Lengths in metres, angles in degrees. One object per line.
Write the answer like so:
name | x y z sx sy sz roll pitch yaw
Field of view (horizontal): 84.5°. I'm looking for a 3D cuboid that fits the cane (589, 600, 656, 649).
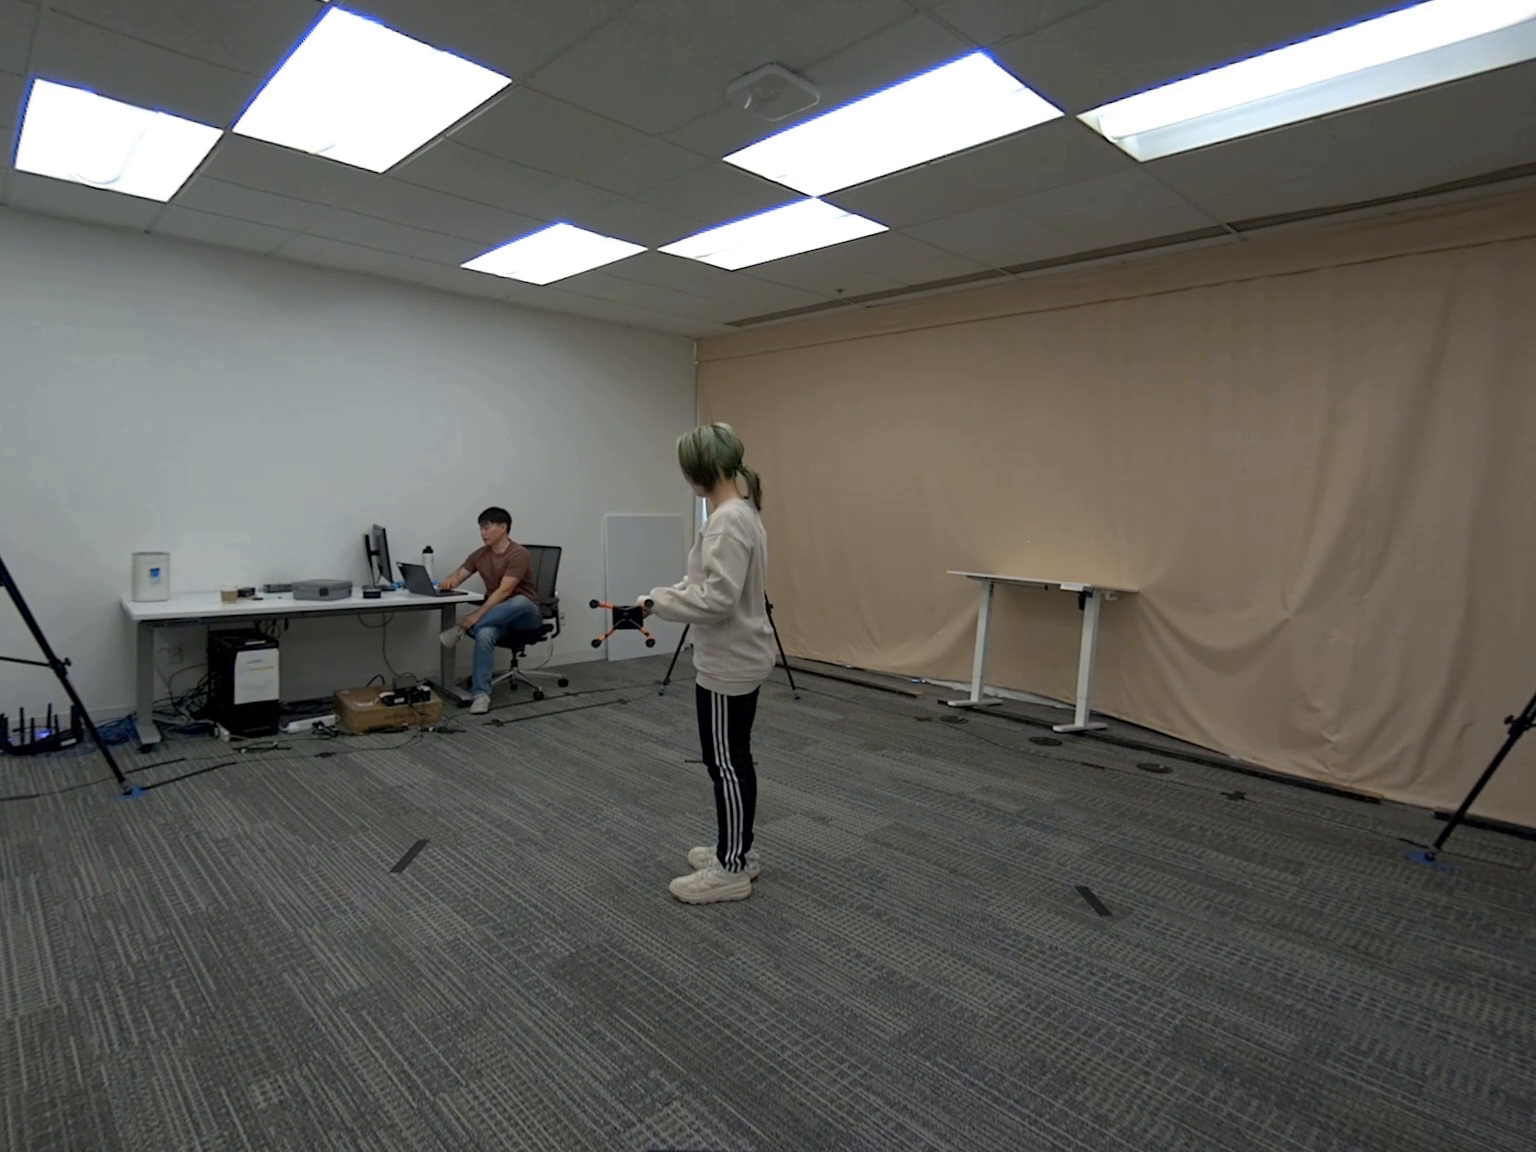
cane | -0.415 0.106 3.067 0.208 0.151 0.904 -2 5 7
